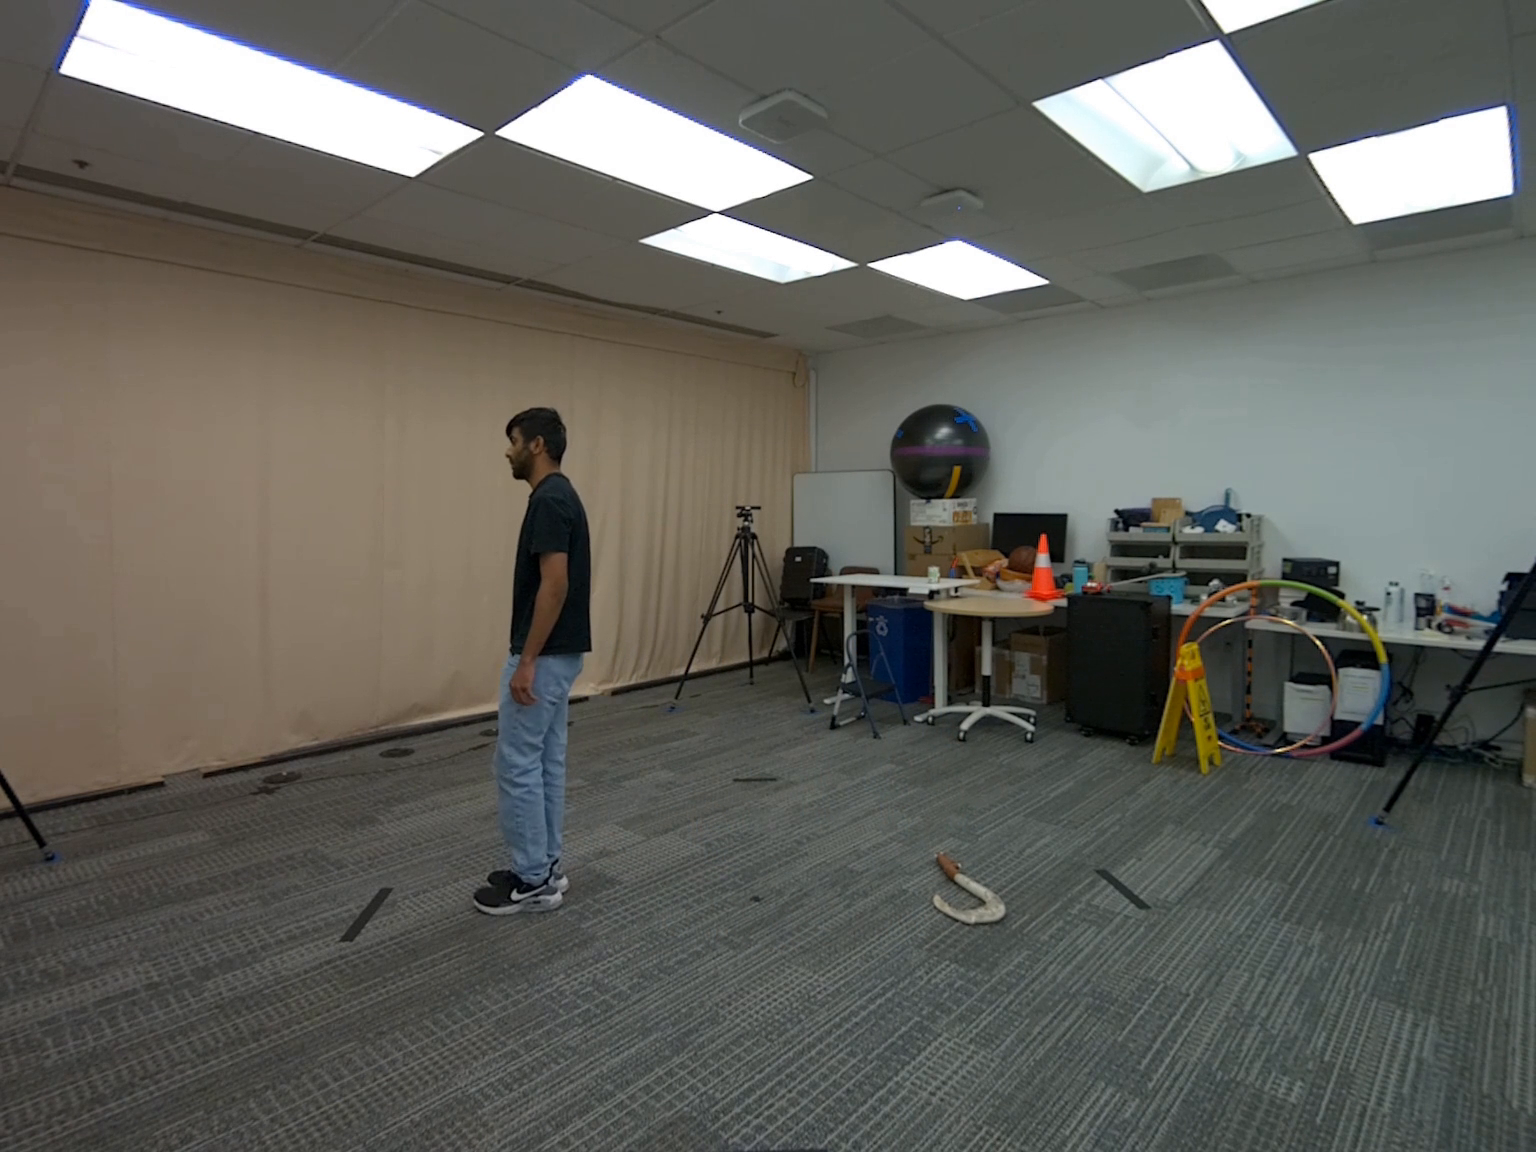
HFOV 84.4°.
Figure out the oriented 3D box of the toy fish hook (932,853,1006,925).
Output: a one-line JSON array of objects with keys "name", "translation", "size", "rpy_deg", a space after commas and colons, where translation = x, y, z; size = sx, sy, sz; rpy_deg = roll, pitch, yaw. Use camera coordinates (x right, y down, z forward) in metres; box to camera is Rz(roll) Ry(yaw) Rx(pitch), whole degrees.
[{"name": "toy fish hook", "translation": [0.669, 1.113, 3.029], "size": [0.222, 0.048, 0.513], "rpy_deg": [1, 5, -10]}]
